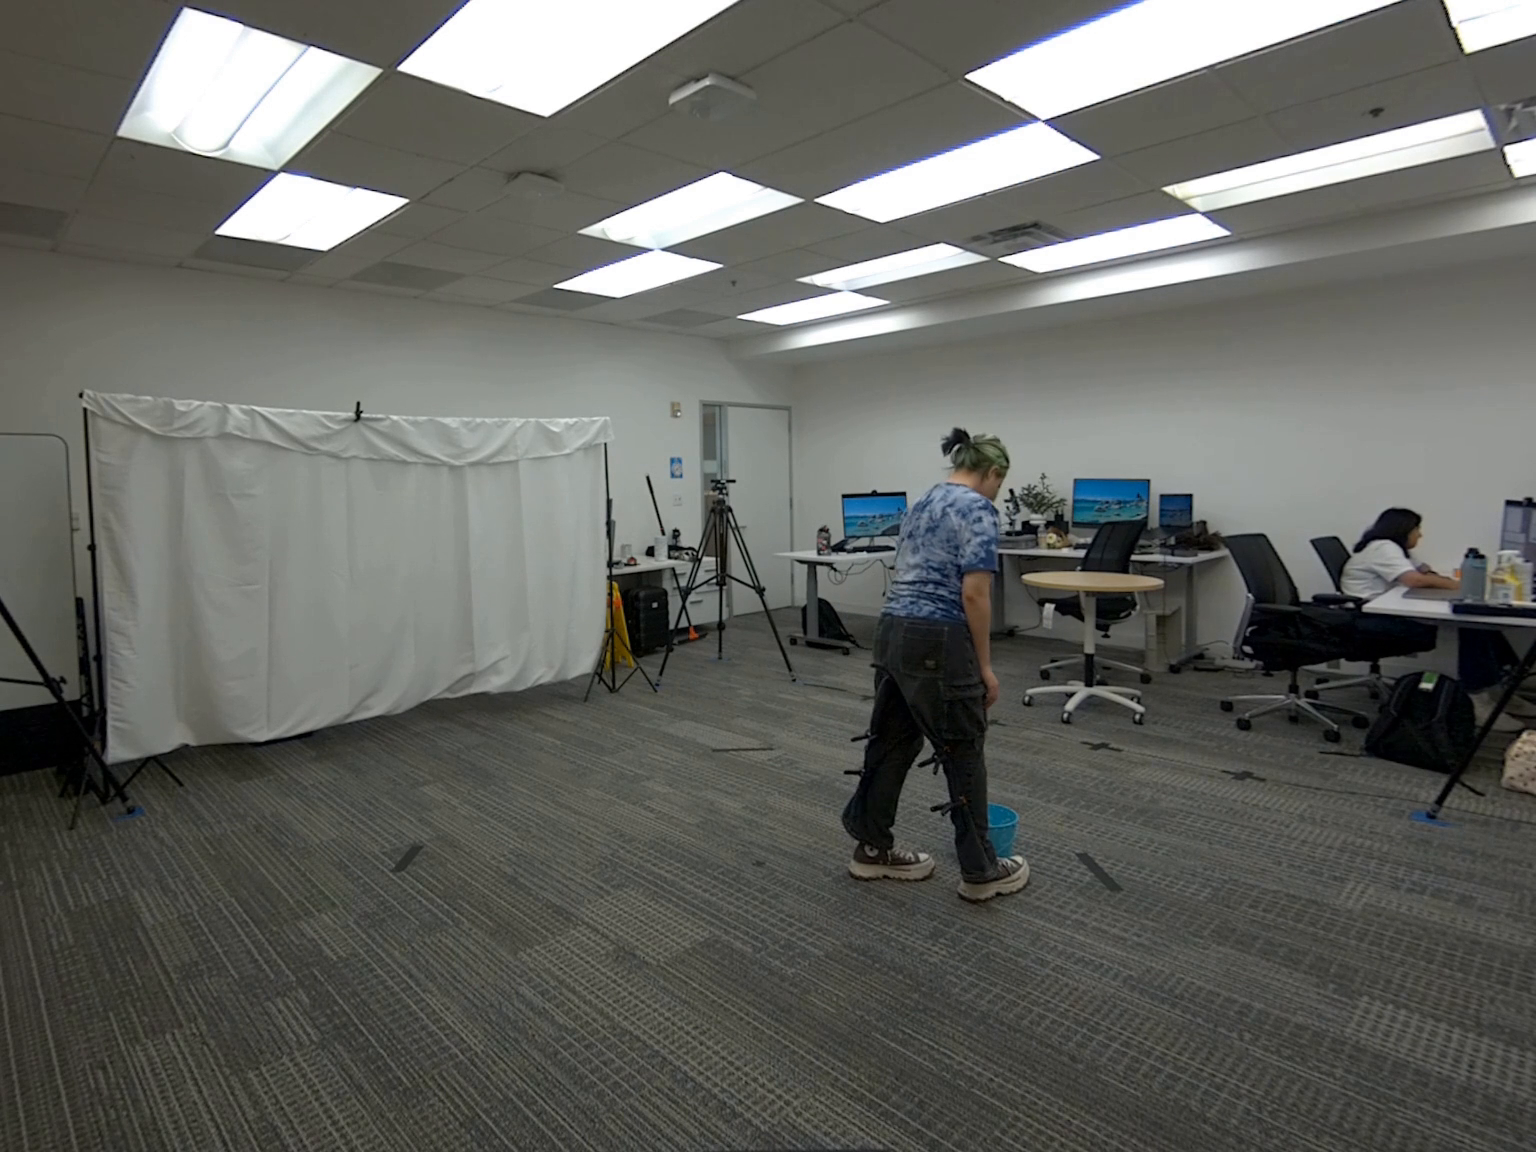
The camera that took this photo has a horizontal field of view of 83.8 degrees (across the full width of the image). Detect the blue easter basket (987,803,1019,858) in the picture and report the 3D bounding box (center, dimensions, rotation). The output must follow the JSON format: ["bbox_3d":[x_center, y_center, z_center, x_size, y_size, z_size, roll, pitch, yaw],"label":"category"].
[{"bbox_3d":[0.798,0.951,3.146,0.243,0.155,0.245,-2,5,-2],"label":"blue easter basket"}]
